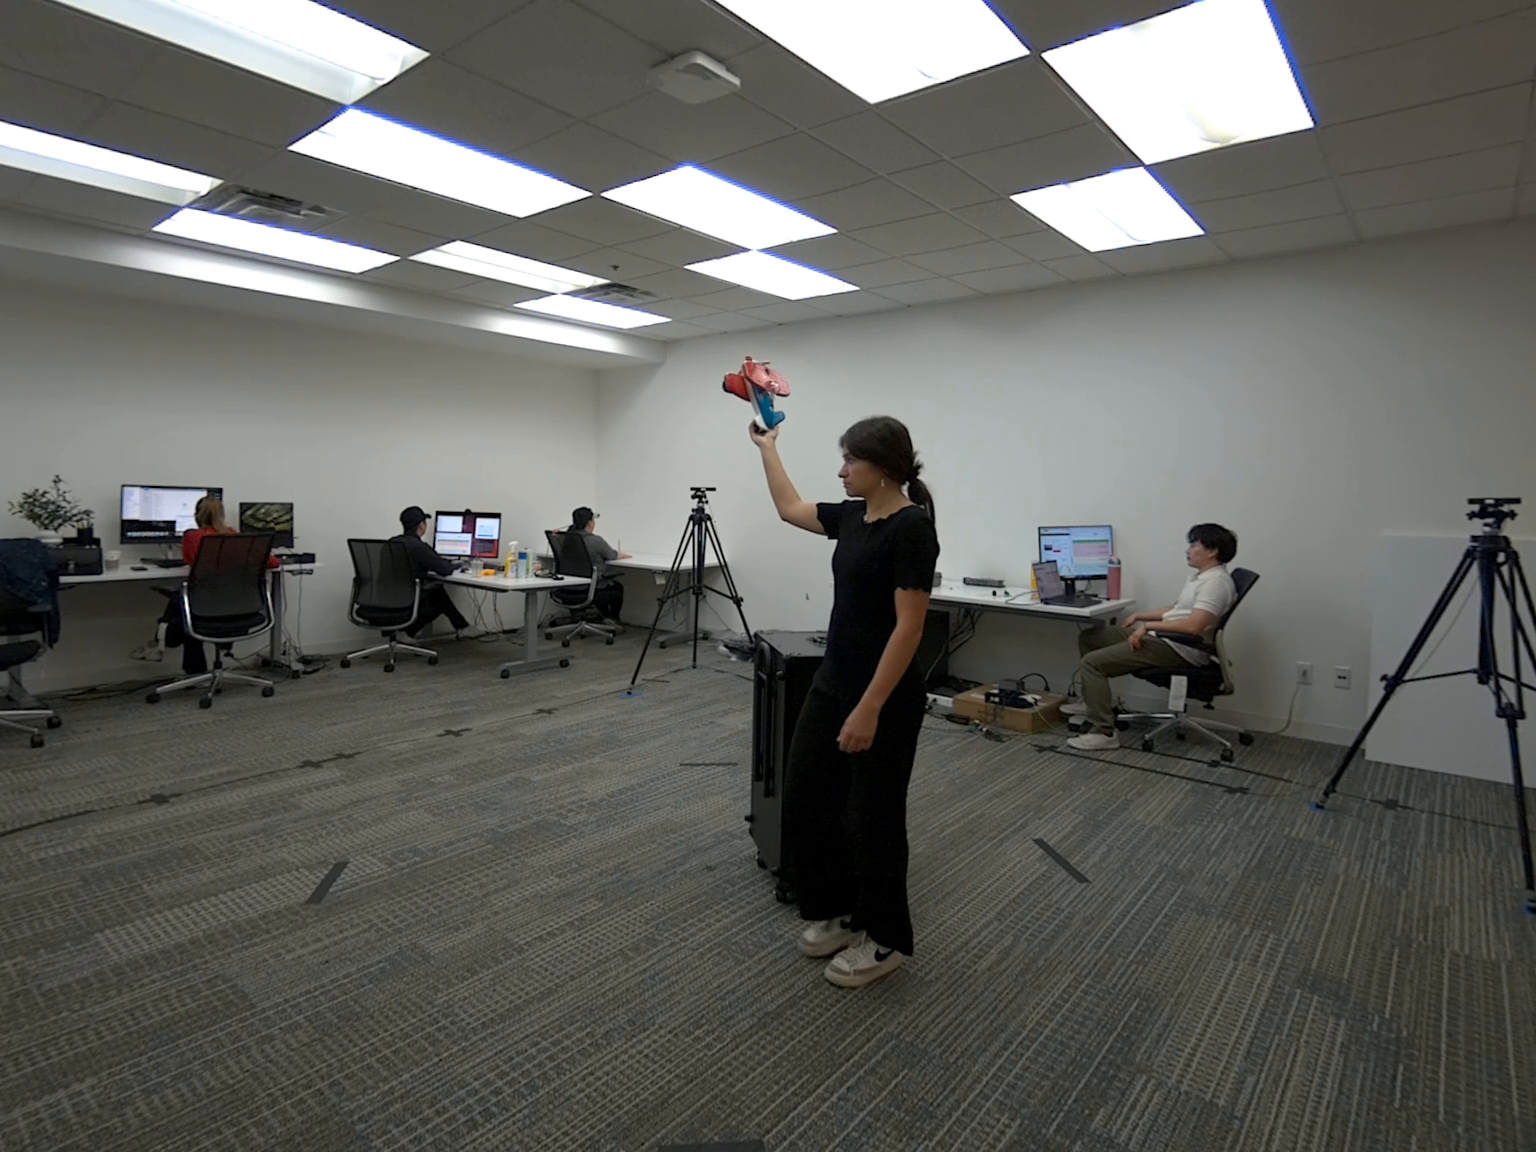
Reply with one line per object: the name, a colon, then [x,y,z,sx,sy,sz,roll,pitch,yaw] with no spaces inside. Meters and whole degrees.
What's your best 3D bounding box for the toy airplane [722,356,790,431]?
toy airplane: [-0.035,-0.608,2.882,0.157,0.259,0.250,-41,1,28]
